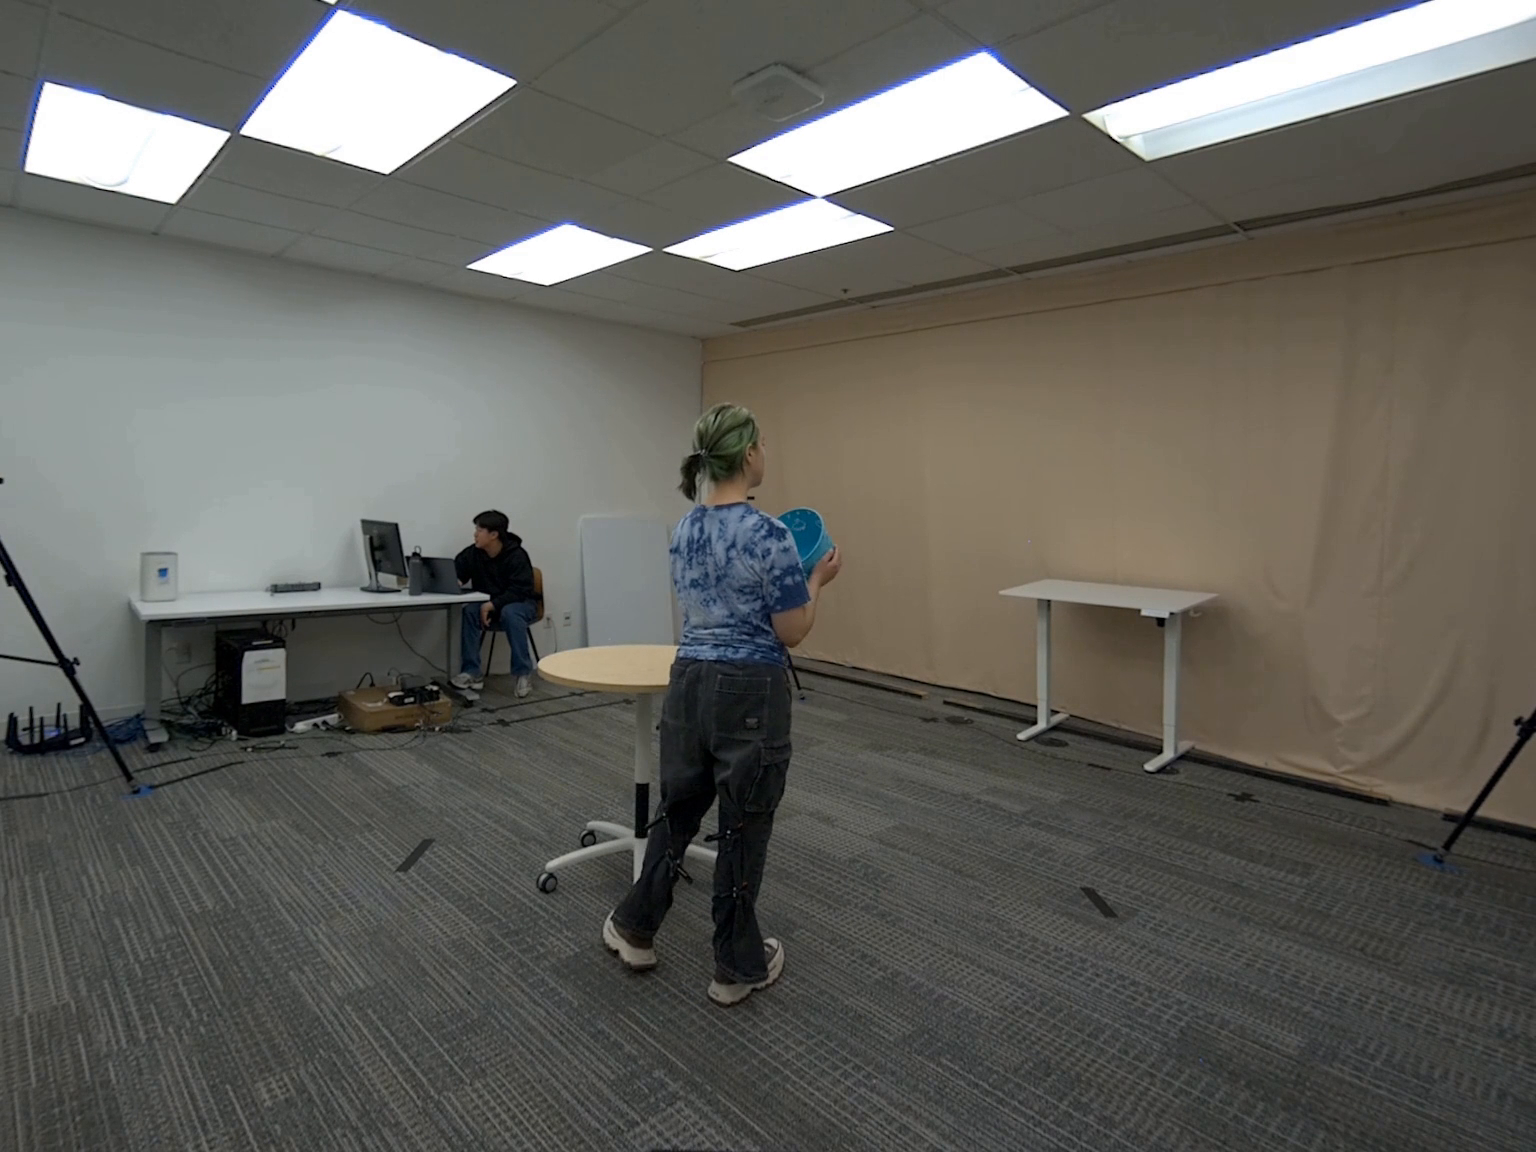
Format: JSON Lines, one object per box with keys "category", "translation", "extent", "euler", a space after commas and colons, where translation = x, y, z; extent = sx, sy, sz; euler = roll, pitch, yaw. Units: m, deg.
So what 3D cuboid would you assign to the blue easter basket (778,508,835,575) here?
{"category": "blue easter basket", "translation": [0.088, -0.072, 2.536], "extent": [0.250, 0.245, 0.151], "euler": [6, -30, 44]}
